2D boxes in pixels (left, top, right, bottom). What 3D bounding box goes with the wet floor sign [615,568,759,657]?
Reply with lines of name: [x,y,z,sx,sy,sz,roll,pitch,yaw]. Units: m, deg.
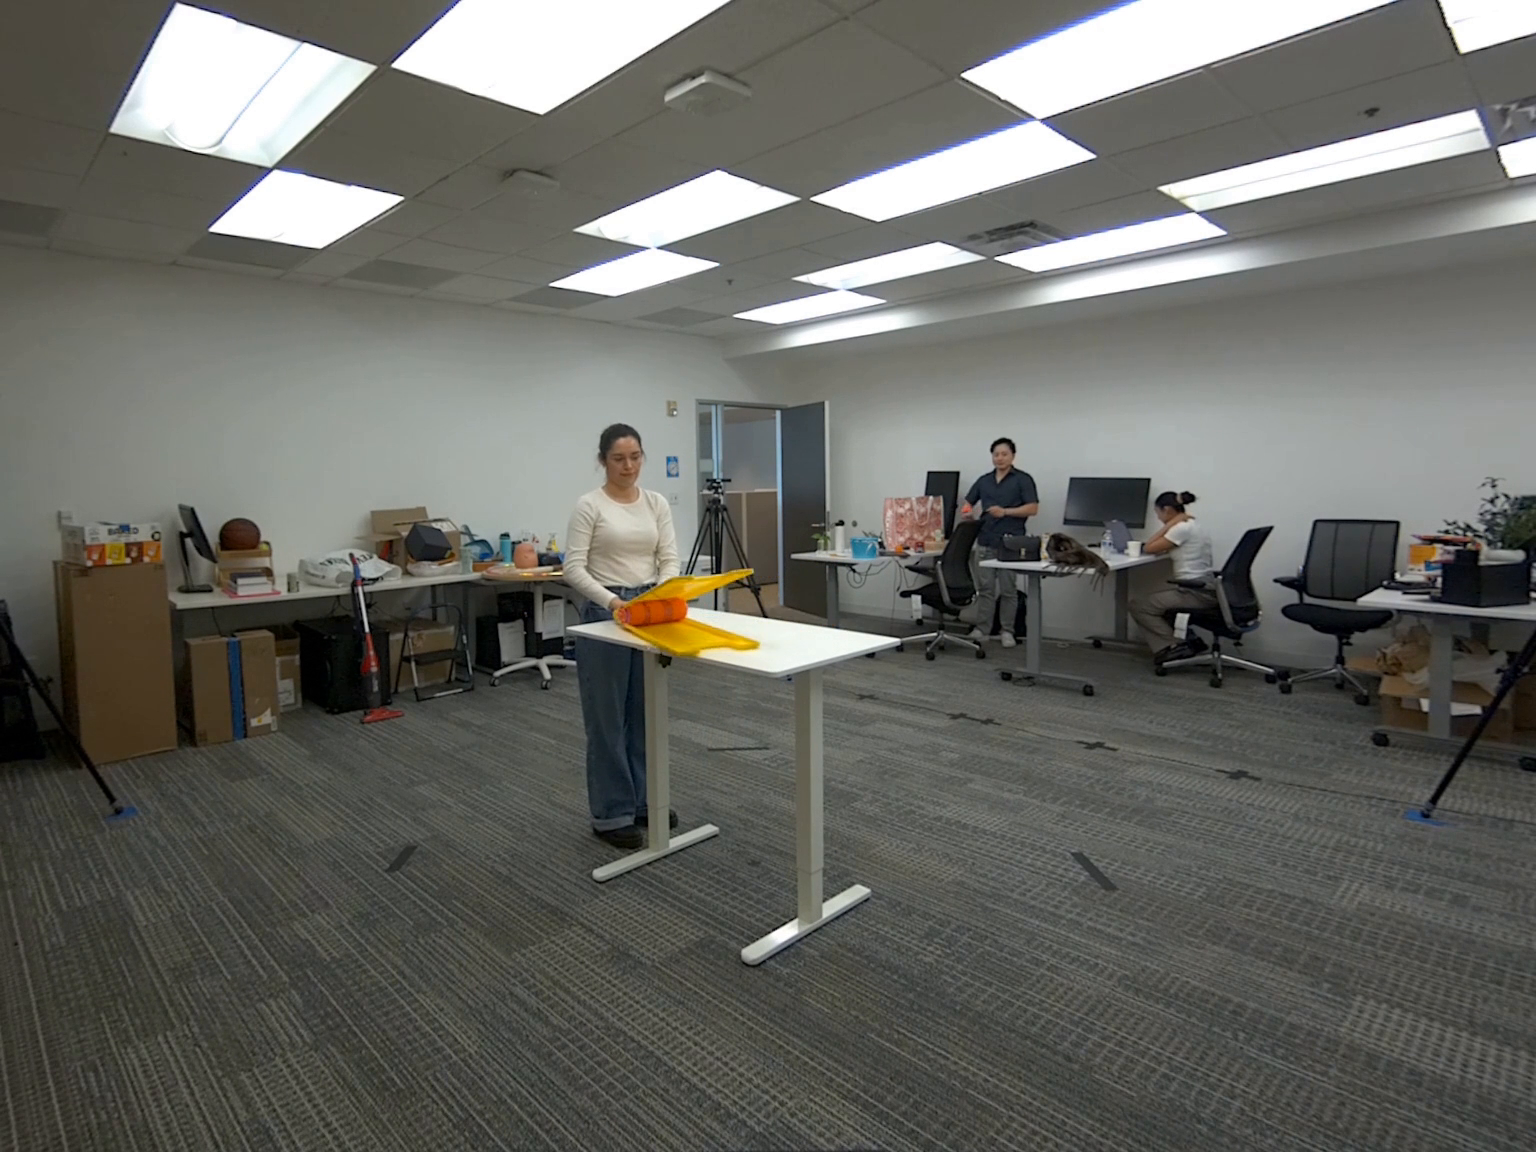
wet floor sign: [-0.302,0.131,2.851,0.276,0.290,0.660,-5,0,-29]
